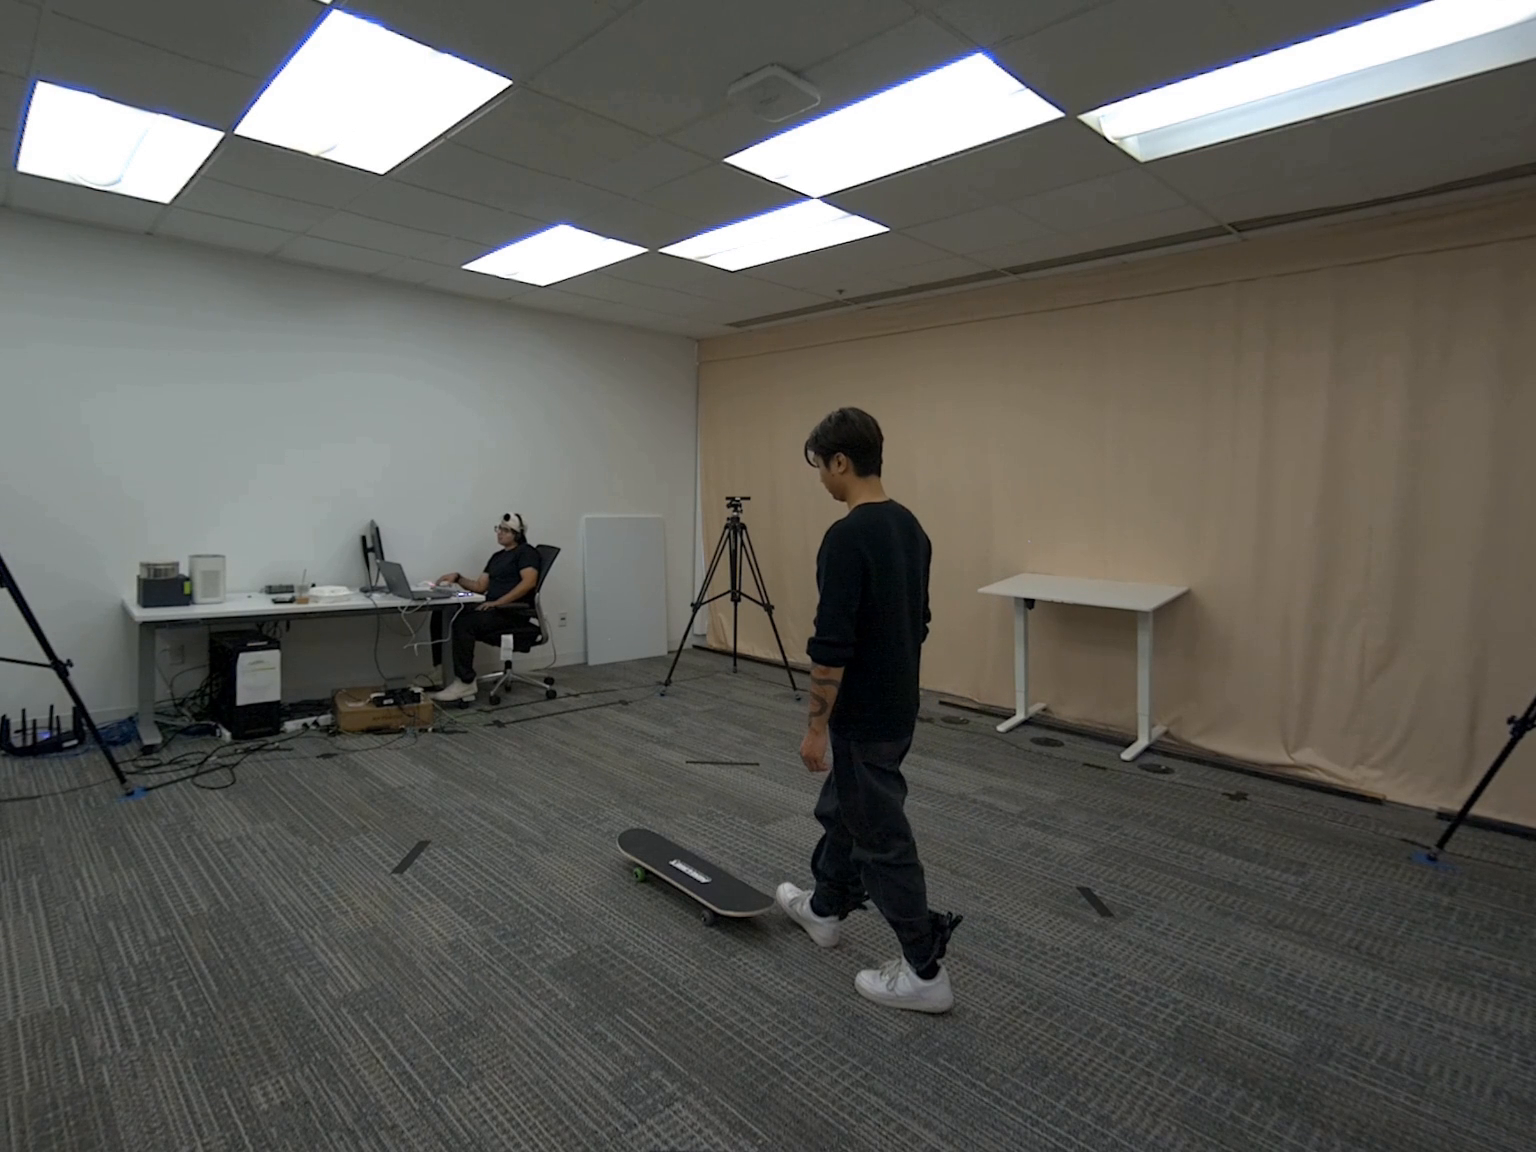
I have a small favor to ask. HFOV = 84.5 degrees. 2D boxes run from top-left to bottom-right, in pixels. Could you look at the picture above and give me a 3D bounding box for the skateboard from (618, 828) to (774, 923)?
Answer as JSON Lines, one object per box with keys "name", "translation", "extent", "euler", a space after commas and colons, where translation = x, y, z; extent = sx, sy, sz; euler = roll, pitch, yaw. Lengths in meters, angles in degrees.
{"name": "skateboard", "translation": [-0.283, 1.062, 2.943], "extent": [0.189, 0.110, 0.806], "euler": [-2, 7, -41]}
